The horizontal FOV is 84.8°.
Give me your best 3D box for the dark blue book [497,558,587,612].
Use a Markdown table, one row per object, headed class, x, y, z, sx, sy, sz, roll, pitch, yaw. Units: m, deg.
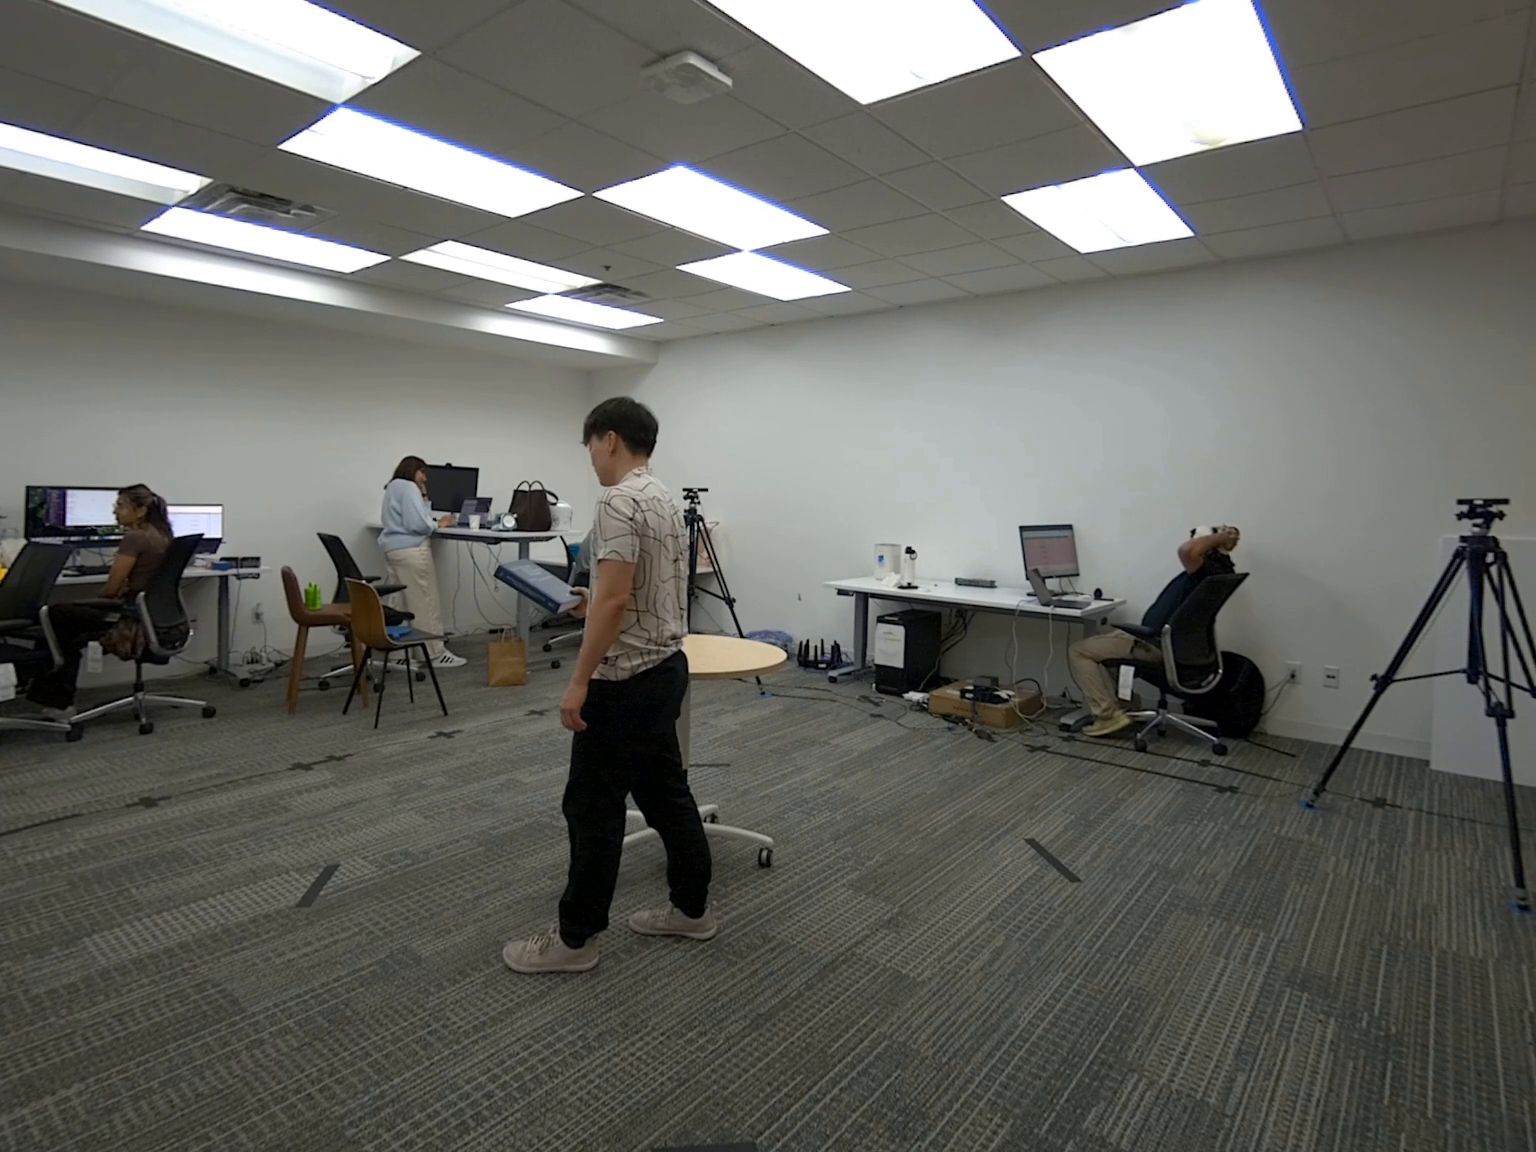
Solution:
| class | x | y | z | sx | sy | sz | roll | pitch | yaw |
| --- | --- | --- | --- | --- | --- | --- | --- | --- | --- |
| dark blue book | -0.722 | 0.025 | 2.692 | 0.246 | 0.045 | 0.164 | 24 | 8 | 1 |
